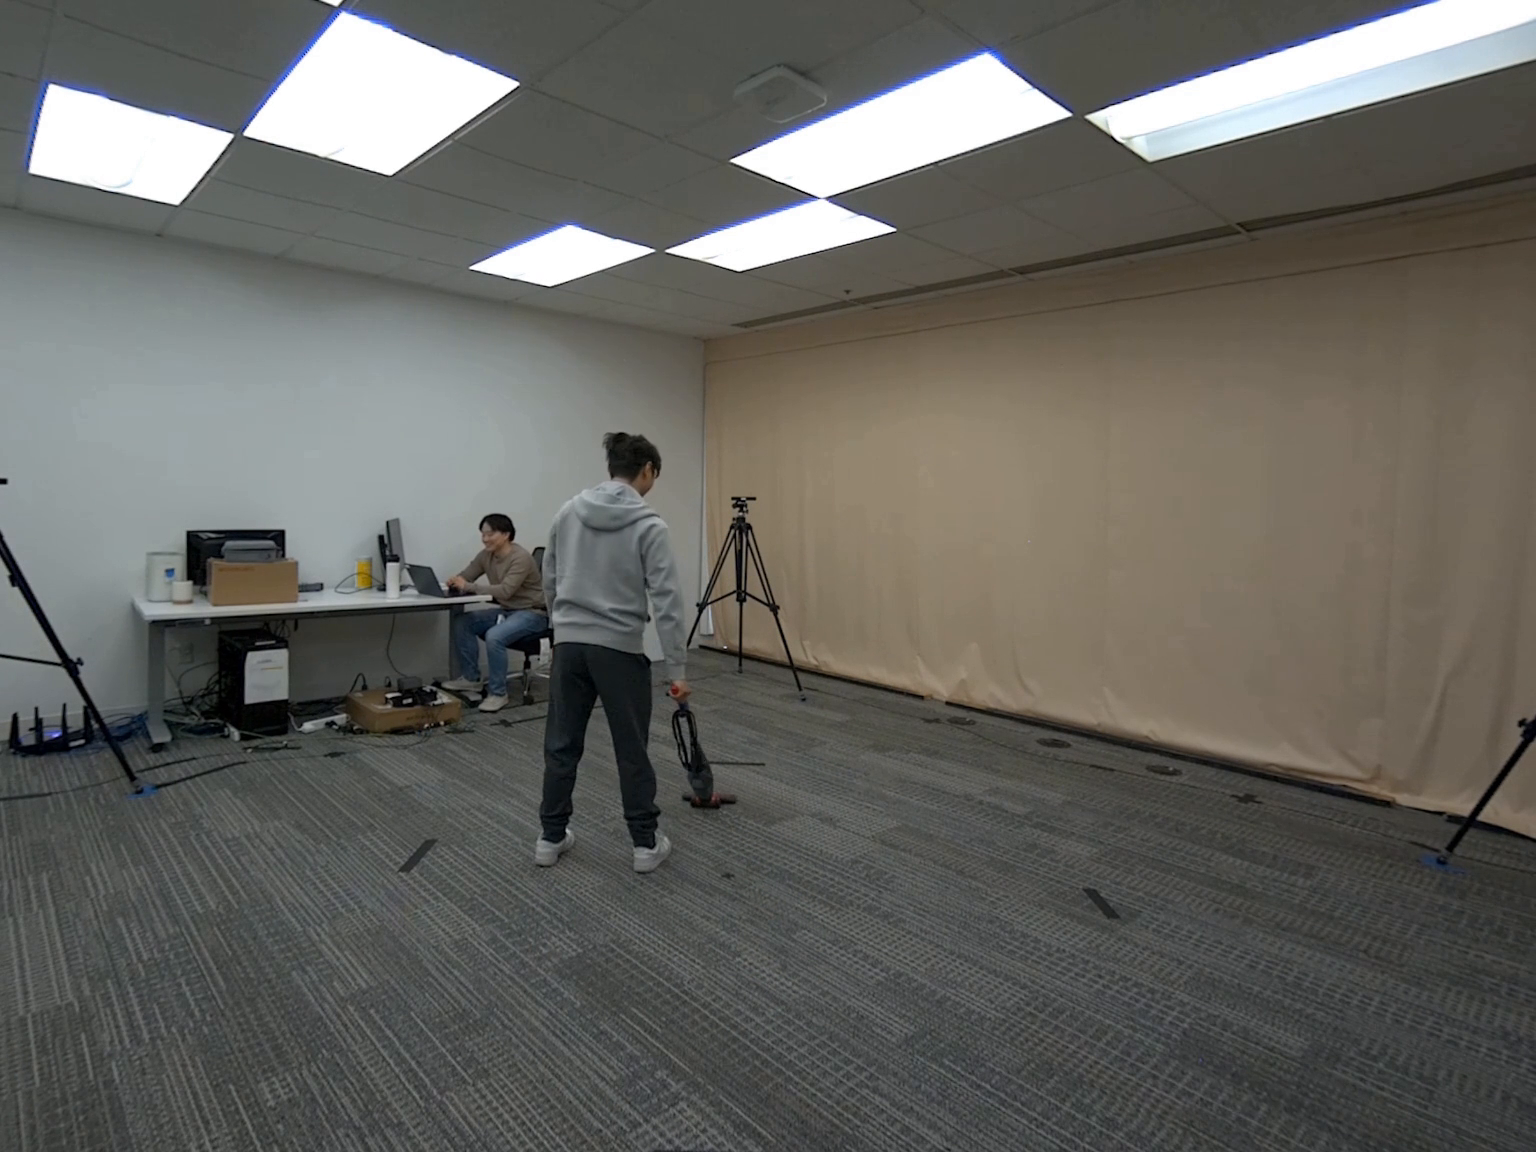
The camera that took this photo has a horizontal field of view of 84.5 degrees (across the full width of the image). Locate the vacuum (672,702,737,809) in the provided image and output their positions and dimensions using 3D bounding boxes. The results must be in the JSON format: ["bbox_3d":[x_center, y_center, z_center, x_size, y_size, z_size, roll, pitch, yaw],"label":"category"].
[{"bbox_3d":[-0.318,0.716,3.445,0.254,0.146,1.025,7,-36,8],"label":"vacuum"}]
